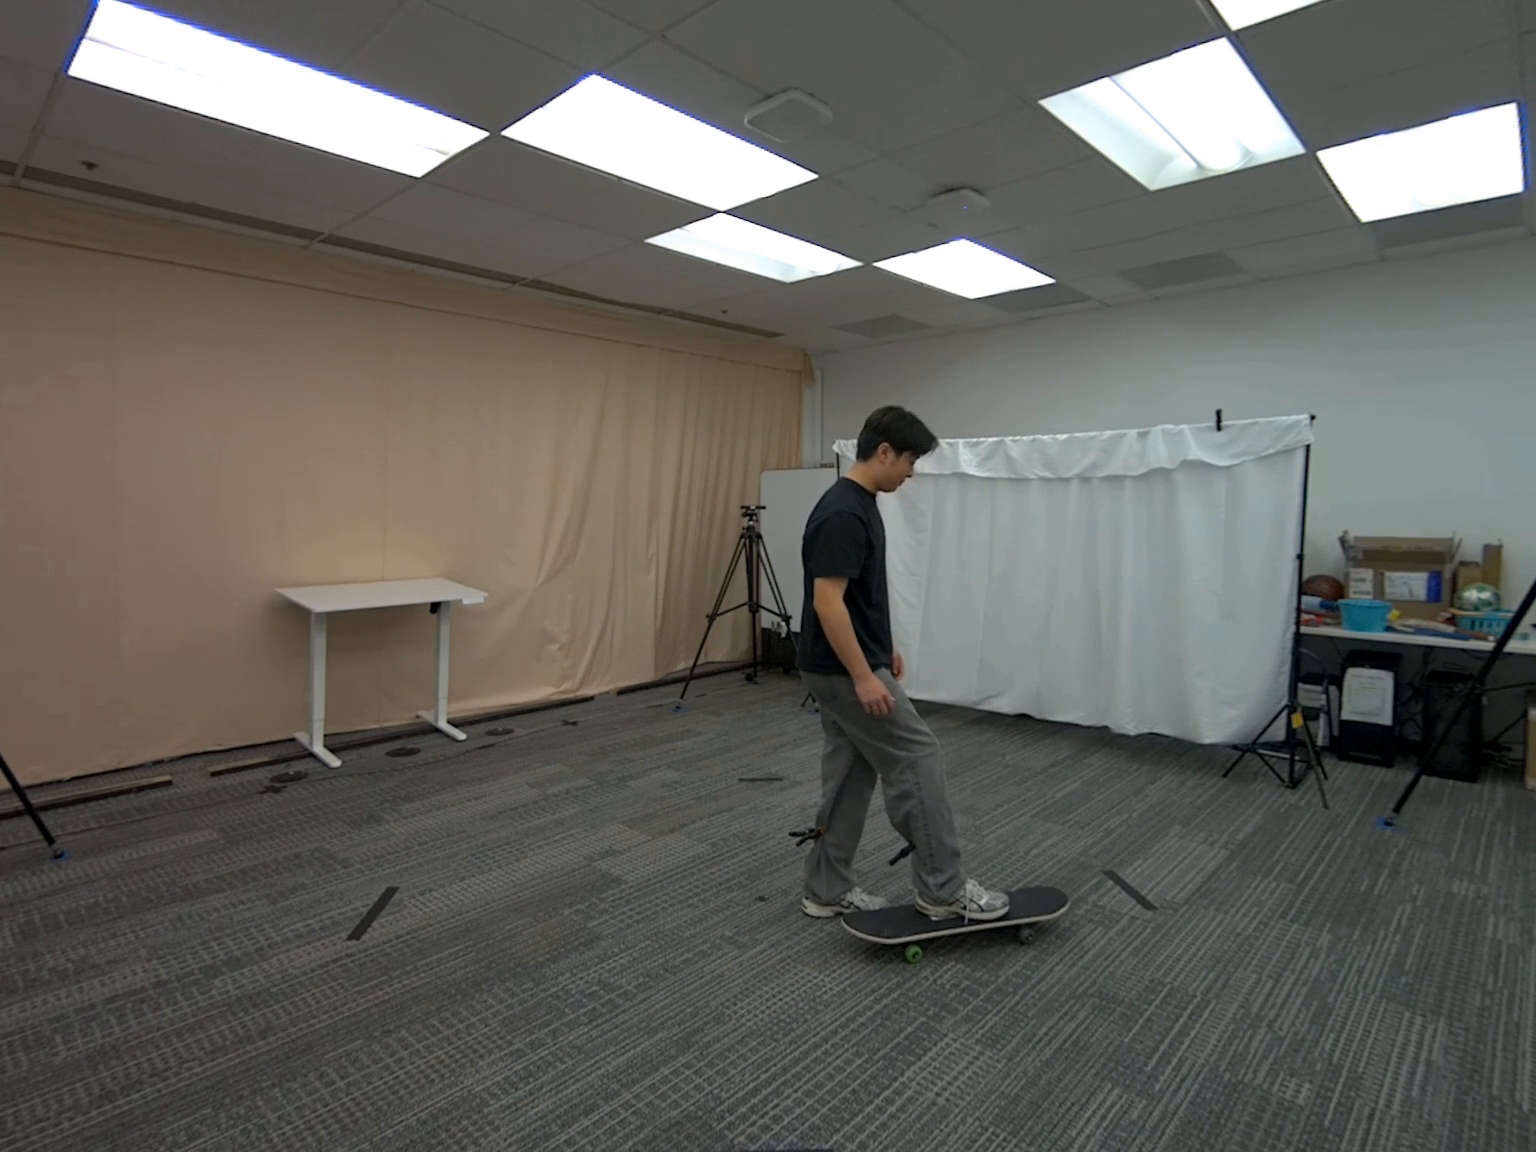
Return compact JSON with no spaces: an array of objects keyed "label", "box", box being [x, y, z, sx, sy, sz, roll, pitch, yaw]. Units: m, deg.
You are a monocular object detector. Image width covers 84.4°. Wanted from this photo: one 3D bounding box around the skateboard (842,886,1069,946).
[{"label":"skateboard","box":[0.615,1.110,2.689,0.773,0.110,0.197,-1,3,-15]}]
